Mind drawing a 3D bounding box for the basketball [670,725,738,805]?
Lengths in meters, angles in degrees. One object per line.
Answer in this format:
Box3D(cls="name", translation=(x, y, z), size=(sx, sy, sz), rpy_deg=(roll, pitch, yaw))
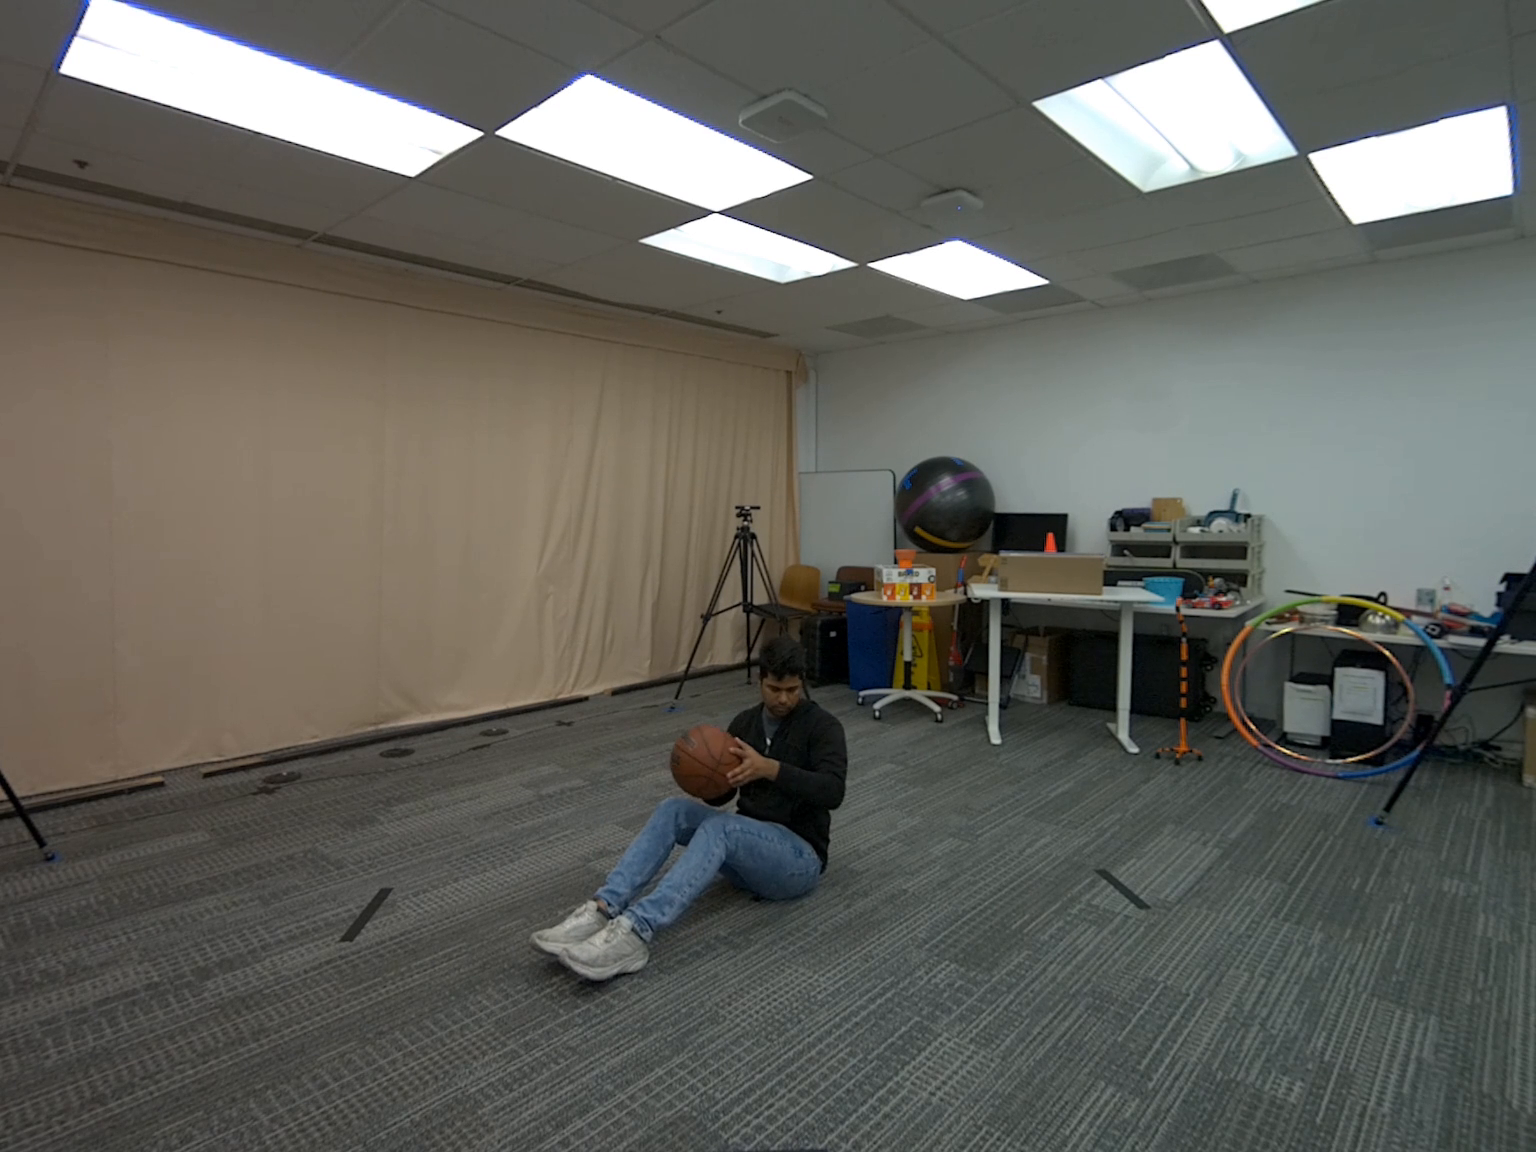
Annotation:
Box3D(cls="basketball", translation=(-0.203, 0.627, 2.804), size=(0.236, 0.235, 0.237), rpy_deg=(0, 4, -2))
